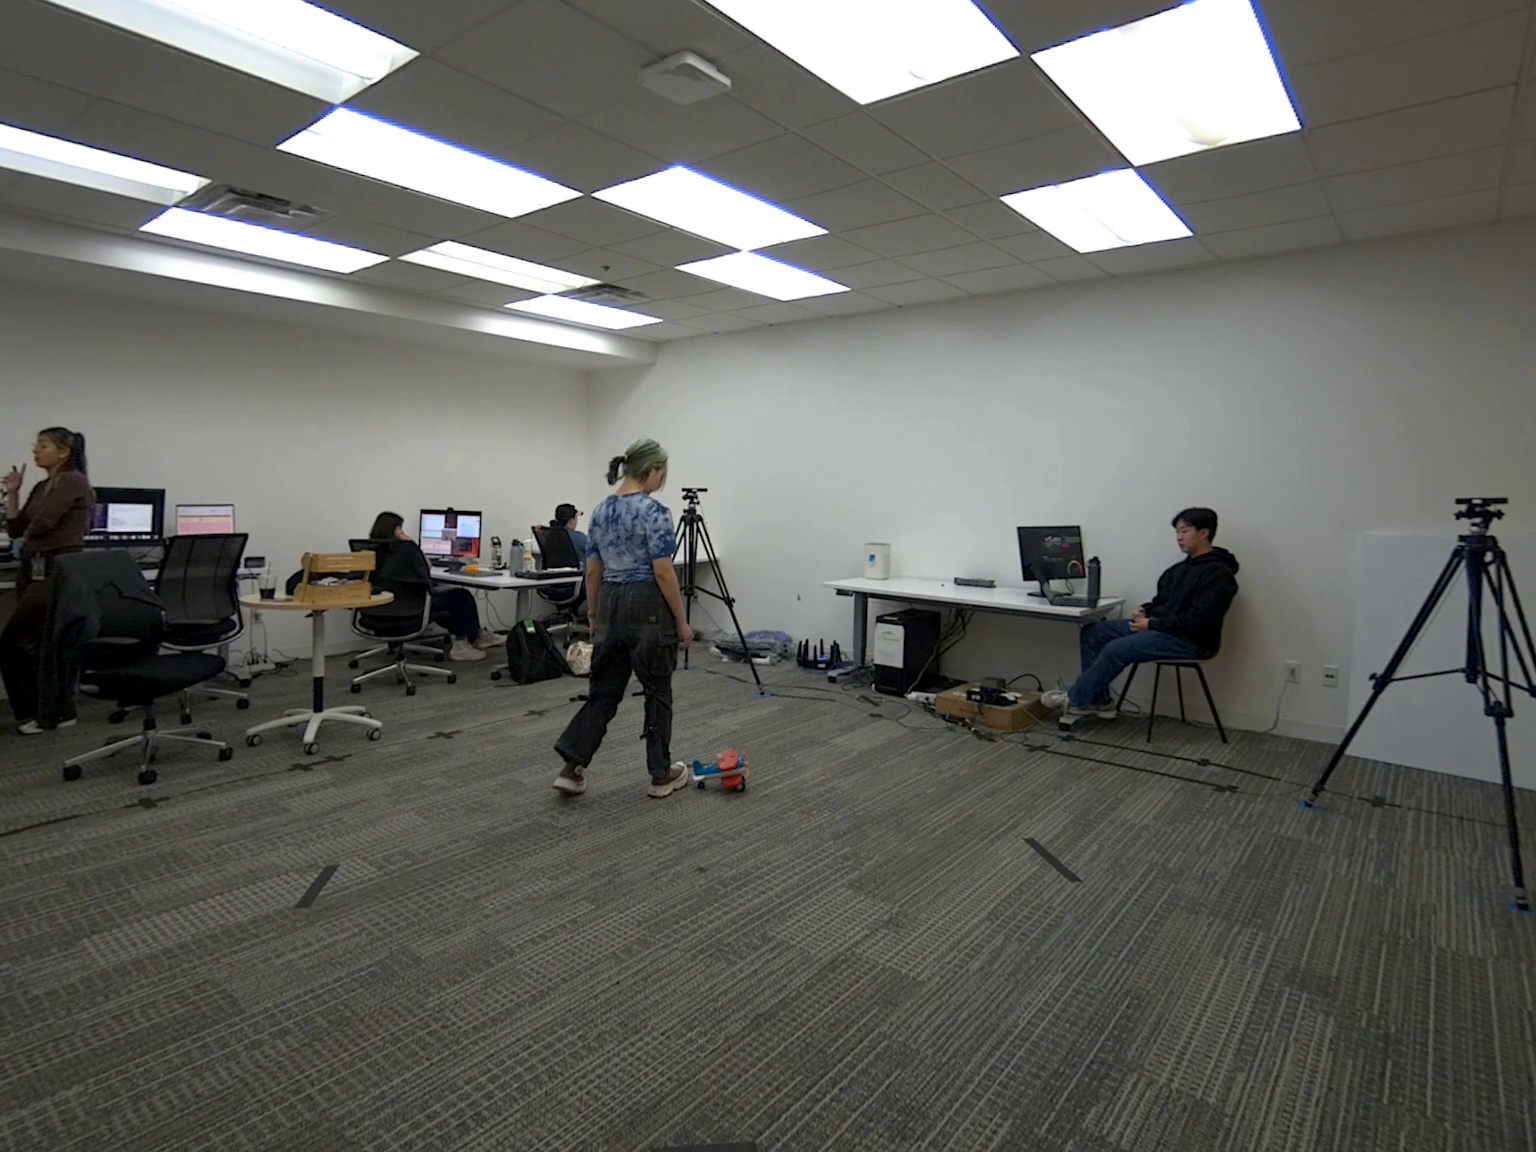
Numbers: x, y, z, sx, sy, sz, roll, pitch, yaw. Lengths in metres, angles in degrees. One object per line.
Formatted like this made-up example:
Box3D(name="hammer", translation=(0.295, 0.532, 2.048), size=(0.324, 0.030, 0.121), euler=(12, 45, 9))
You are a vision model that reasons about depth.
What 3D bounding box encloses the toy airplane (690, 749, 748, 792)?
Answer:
Box3D(name="toy airplane", translation=(-0.232, 0.920, 3.950), size=(0.252, 0.156, 0.259), euler=(0, 6, -27))
